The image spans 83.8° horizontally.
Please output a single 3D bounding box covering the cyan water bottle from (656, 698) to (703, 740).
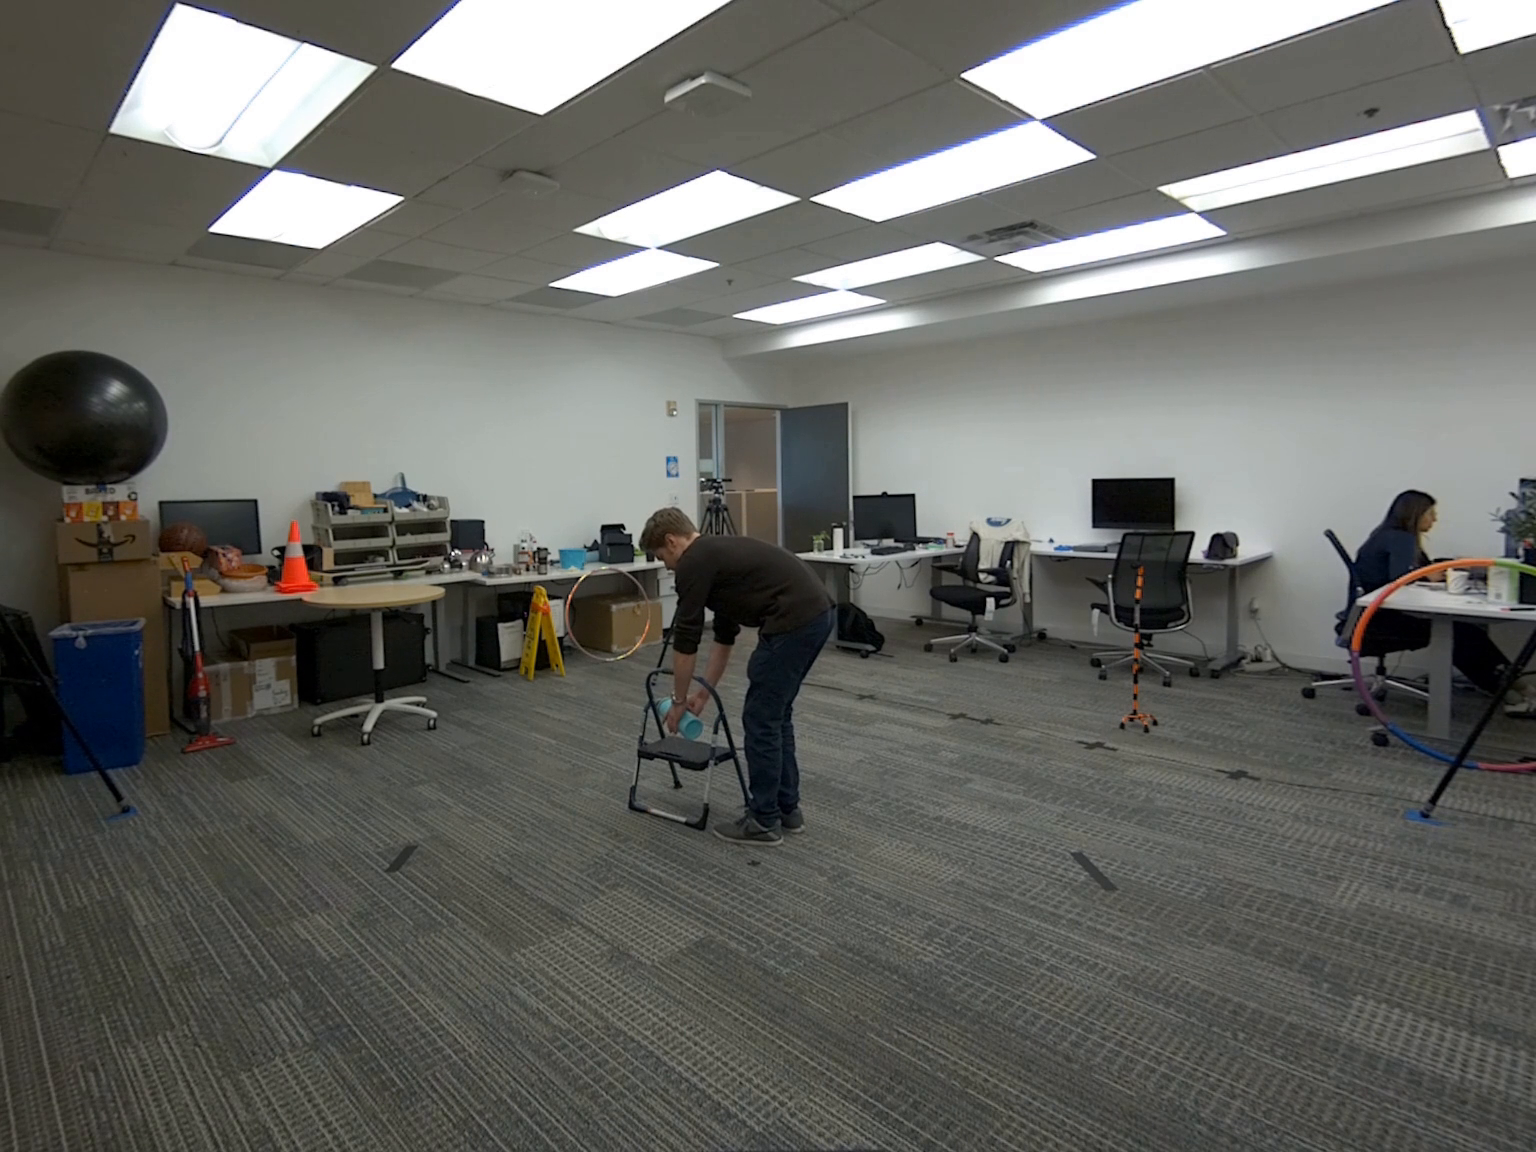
[{"bbox_3d":[-0.366,0.575,3.515,0.090,0.091,0.293,-4,15,-35],"label":"cyan water bottle"}]
